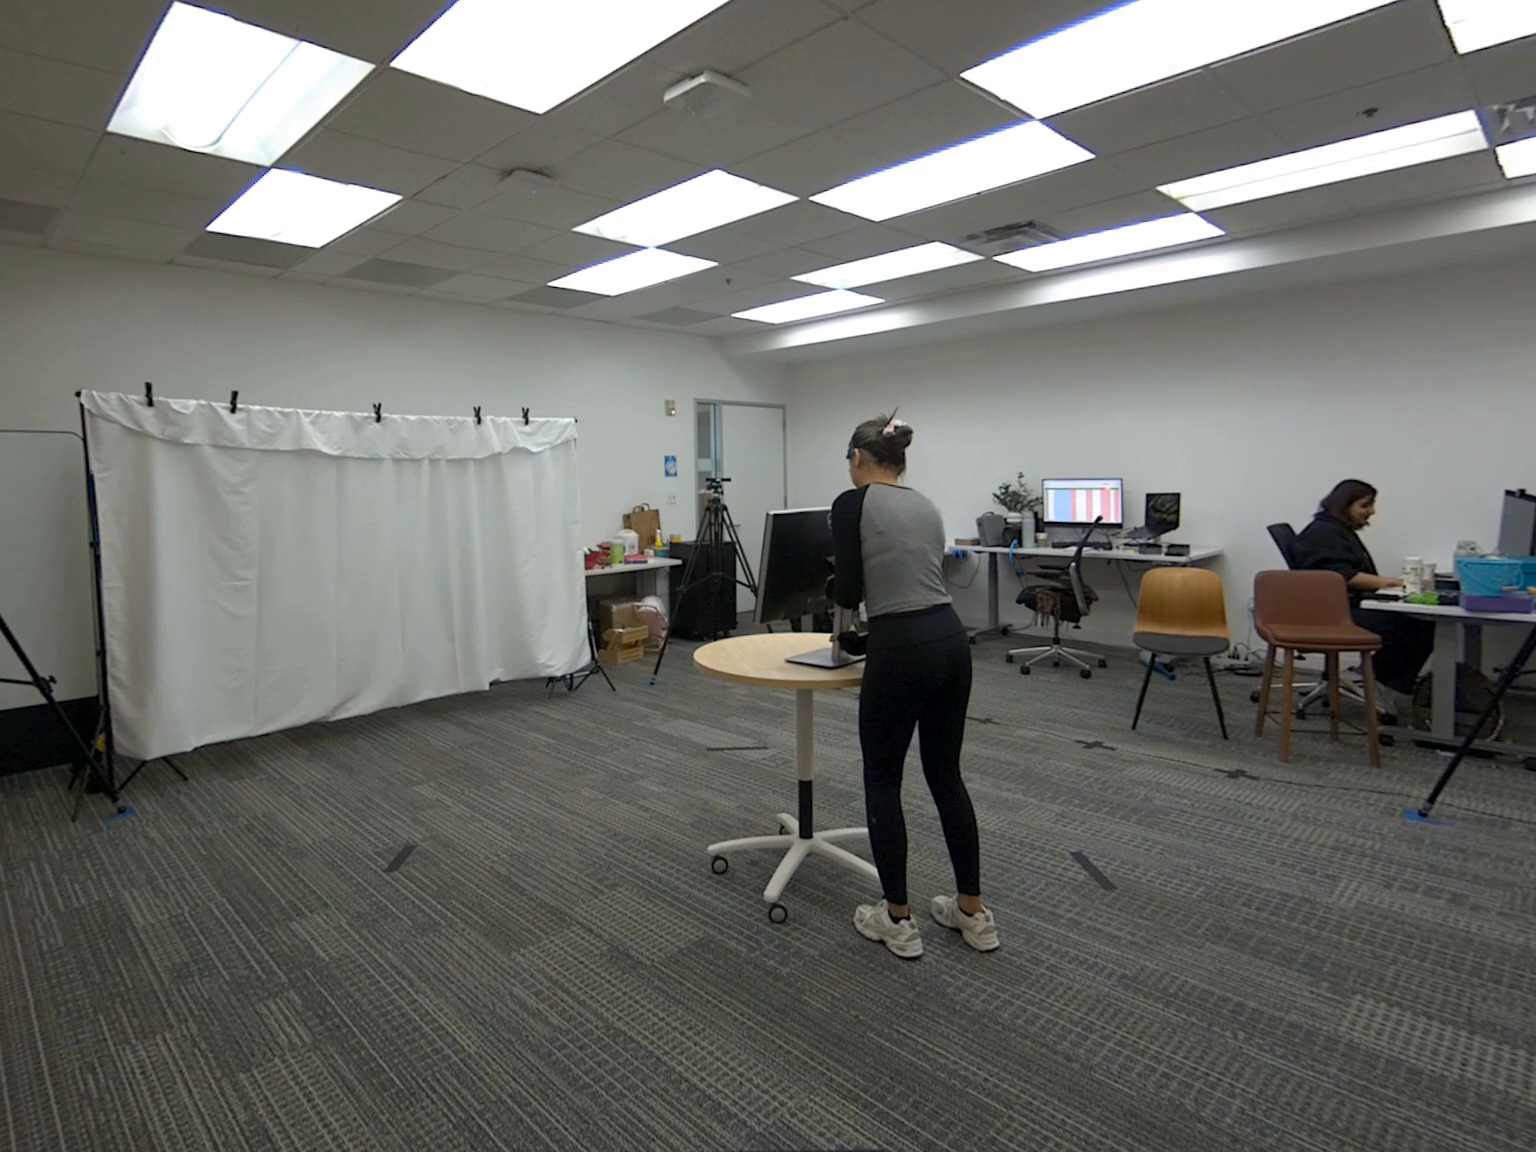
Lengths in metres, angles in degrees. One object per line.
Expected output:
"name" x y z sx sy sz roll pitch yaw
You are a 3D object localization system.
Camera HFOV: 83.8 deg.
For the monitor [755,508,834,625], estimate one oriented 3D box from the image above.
"monitor" 0.209 0.034 2.823 0.192 0.521 0.525 -1 4 42
